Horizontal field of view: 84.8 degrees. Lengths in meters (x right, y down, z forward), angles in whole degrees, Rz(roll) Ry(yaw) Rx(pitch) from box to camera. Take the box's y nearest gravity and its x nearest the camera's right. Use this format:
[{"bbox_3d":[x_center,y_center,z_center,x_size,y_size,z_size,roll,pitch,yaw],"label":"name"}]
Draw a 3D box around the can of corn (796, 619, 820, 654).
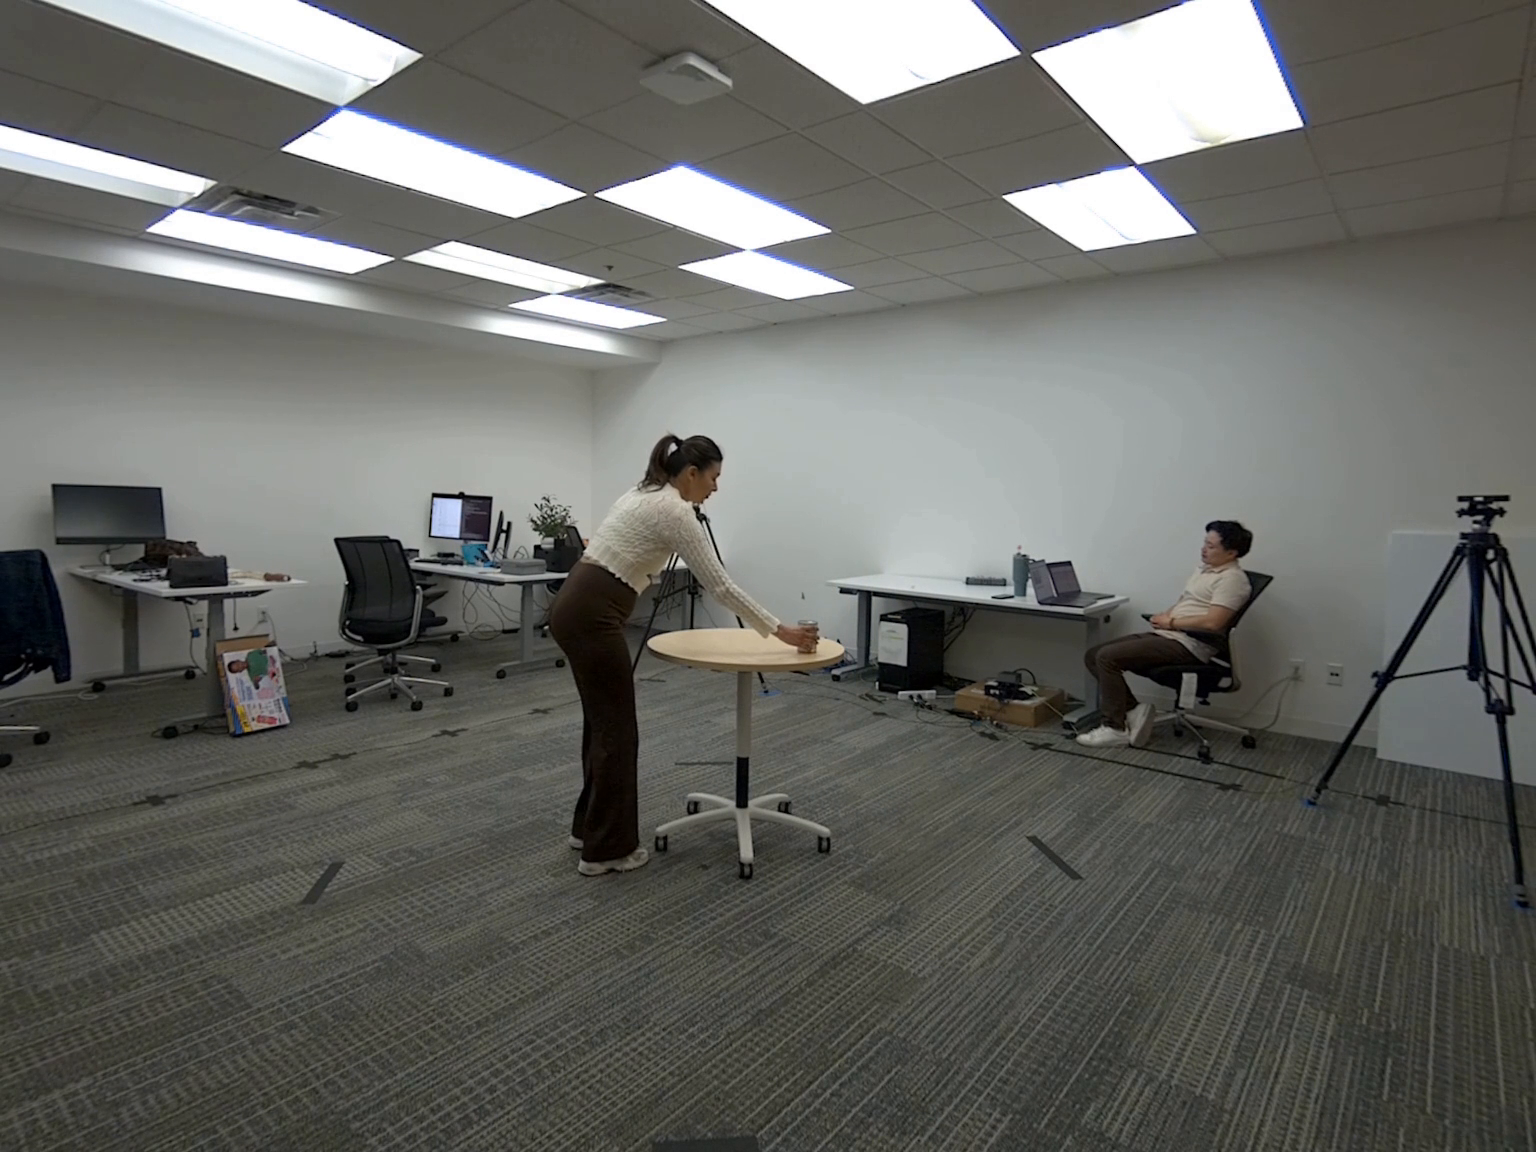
[{"bbox_3d":[0.135,0.228,3.185,0.074,0.110,0.075,-1,7,-2],"label":"can of corn"}]
